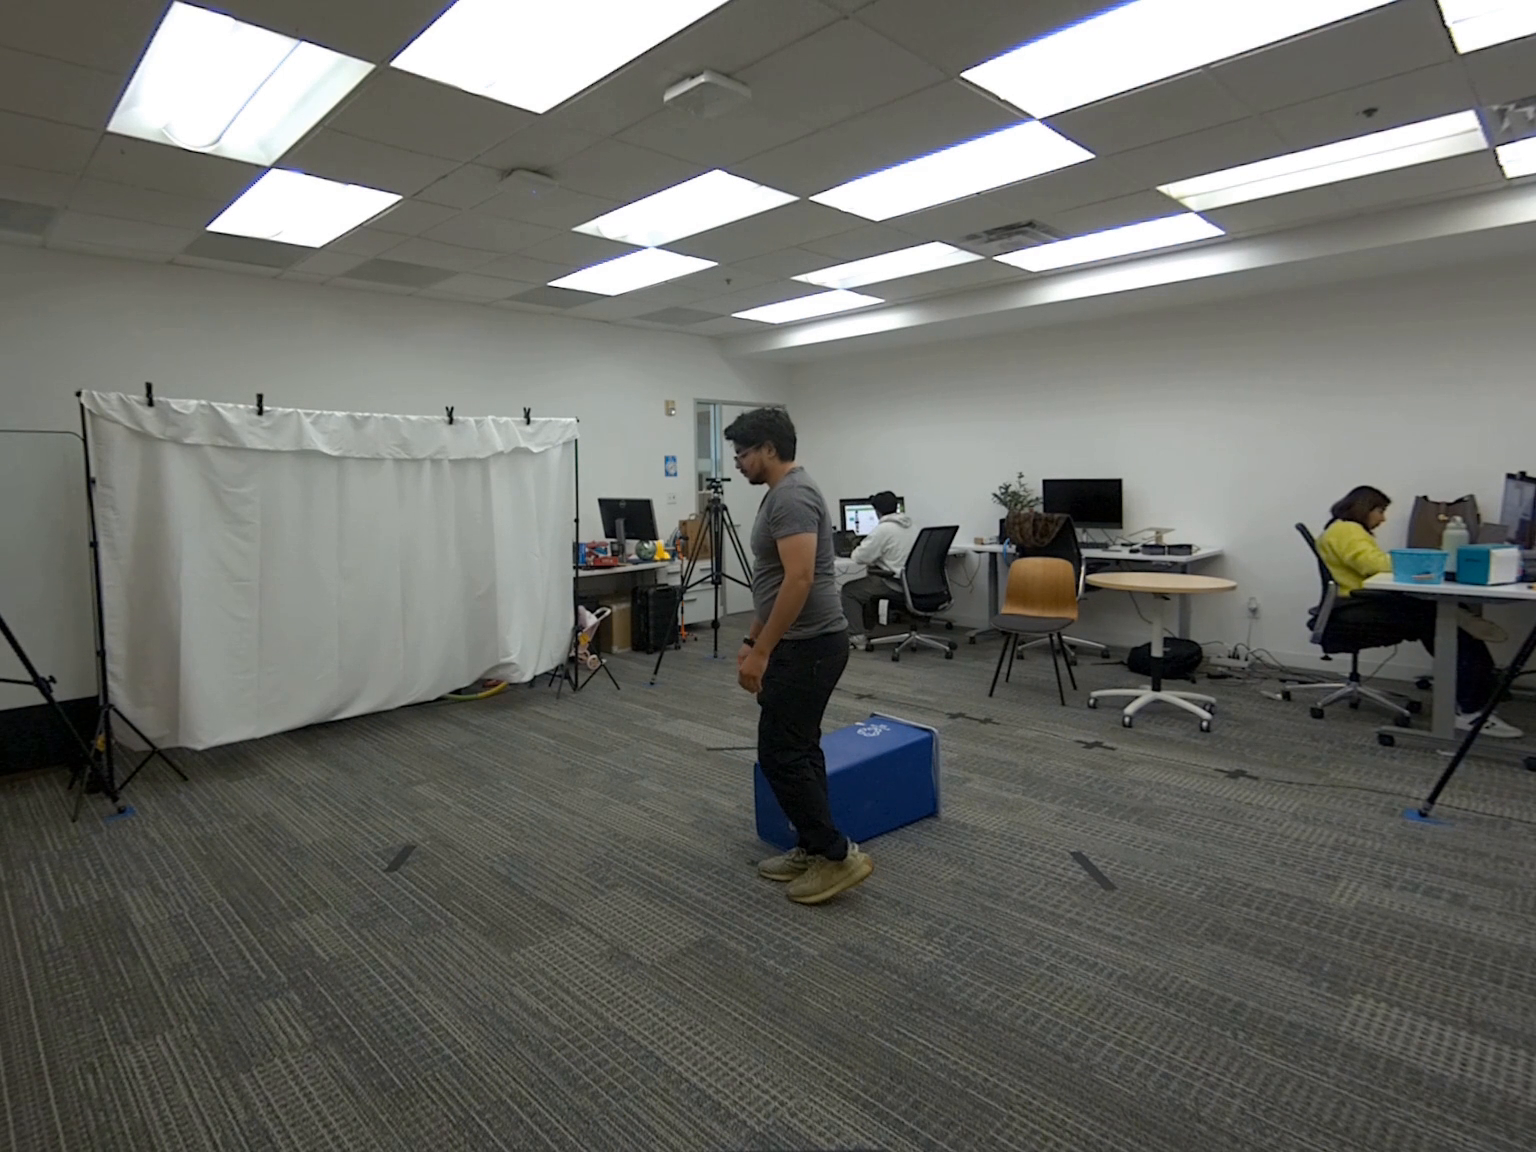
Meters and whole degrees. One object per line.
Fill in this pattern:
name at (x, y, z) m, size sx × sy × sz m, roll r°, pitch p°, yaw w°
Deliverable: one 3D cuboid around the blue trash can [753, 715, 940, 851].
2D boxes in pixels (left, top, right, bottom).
blue trash can at (0.321, 0.822, 3.405) m, size 0.696 × 0.372 × 0.390 m, roll -8°, pitch 9°, yaw -39°
